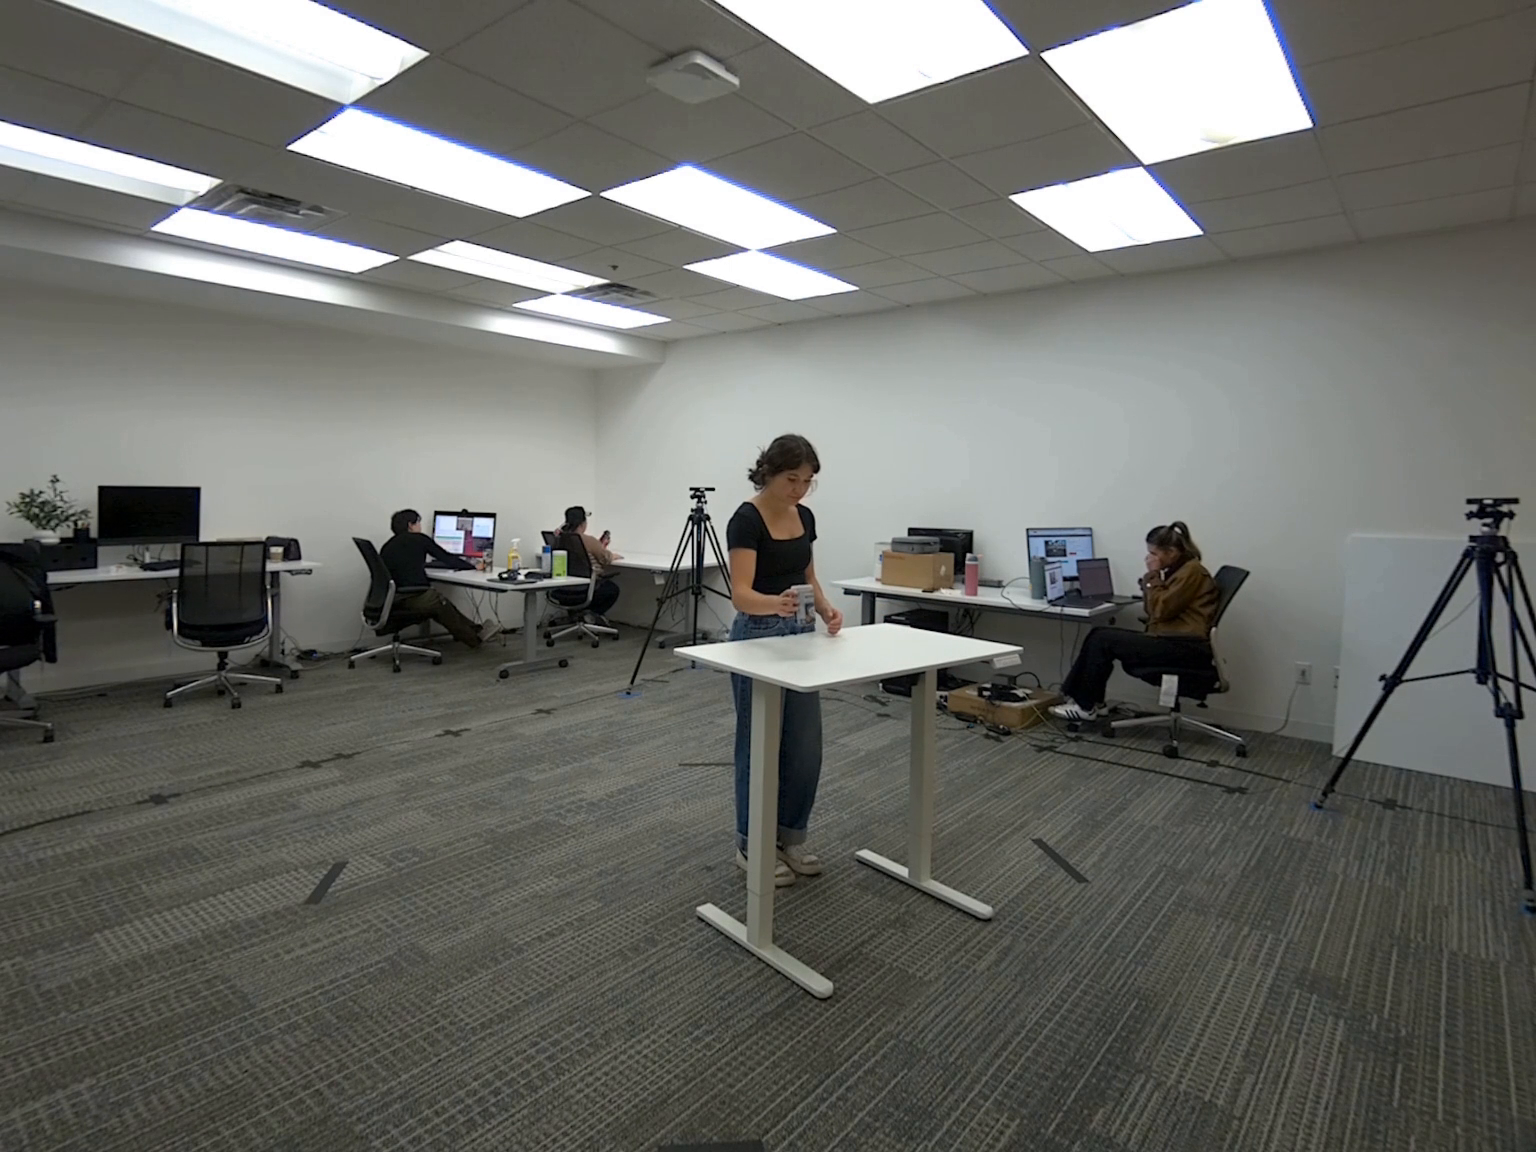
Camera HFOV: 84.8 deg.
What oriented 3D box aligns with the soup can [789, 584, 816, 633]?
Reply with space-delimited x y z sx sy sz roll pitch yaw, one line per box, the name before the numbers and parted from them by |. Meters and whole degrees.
soup can | 0.093 0.090 2.558 0.067 0.122 0.067 -4 -2 -2
